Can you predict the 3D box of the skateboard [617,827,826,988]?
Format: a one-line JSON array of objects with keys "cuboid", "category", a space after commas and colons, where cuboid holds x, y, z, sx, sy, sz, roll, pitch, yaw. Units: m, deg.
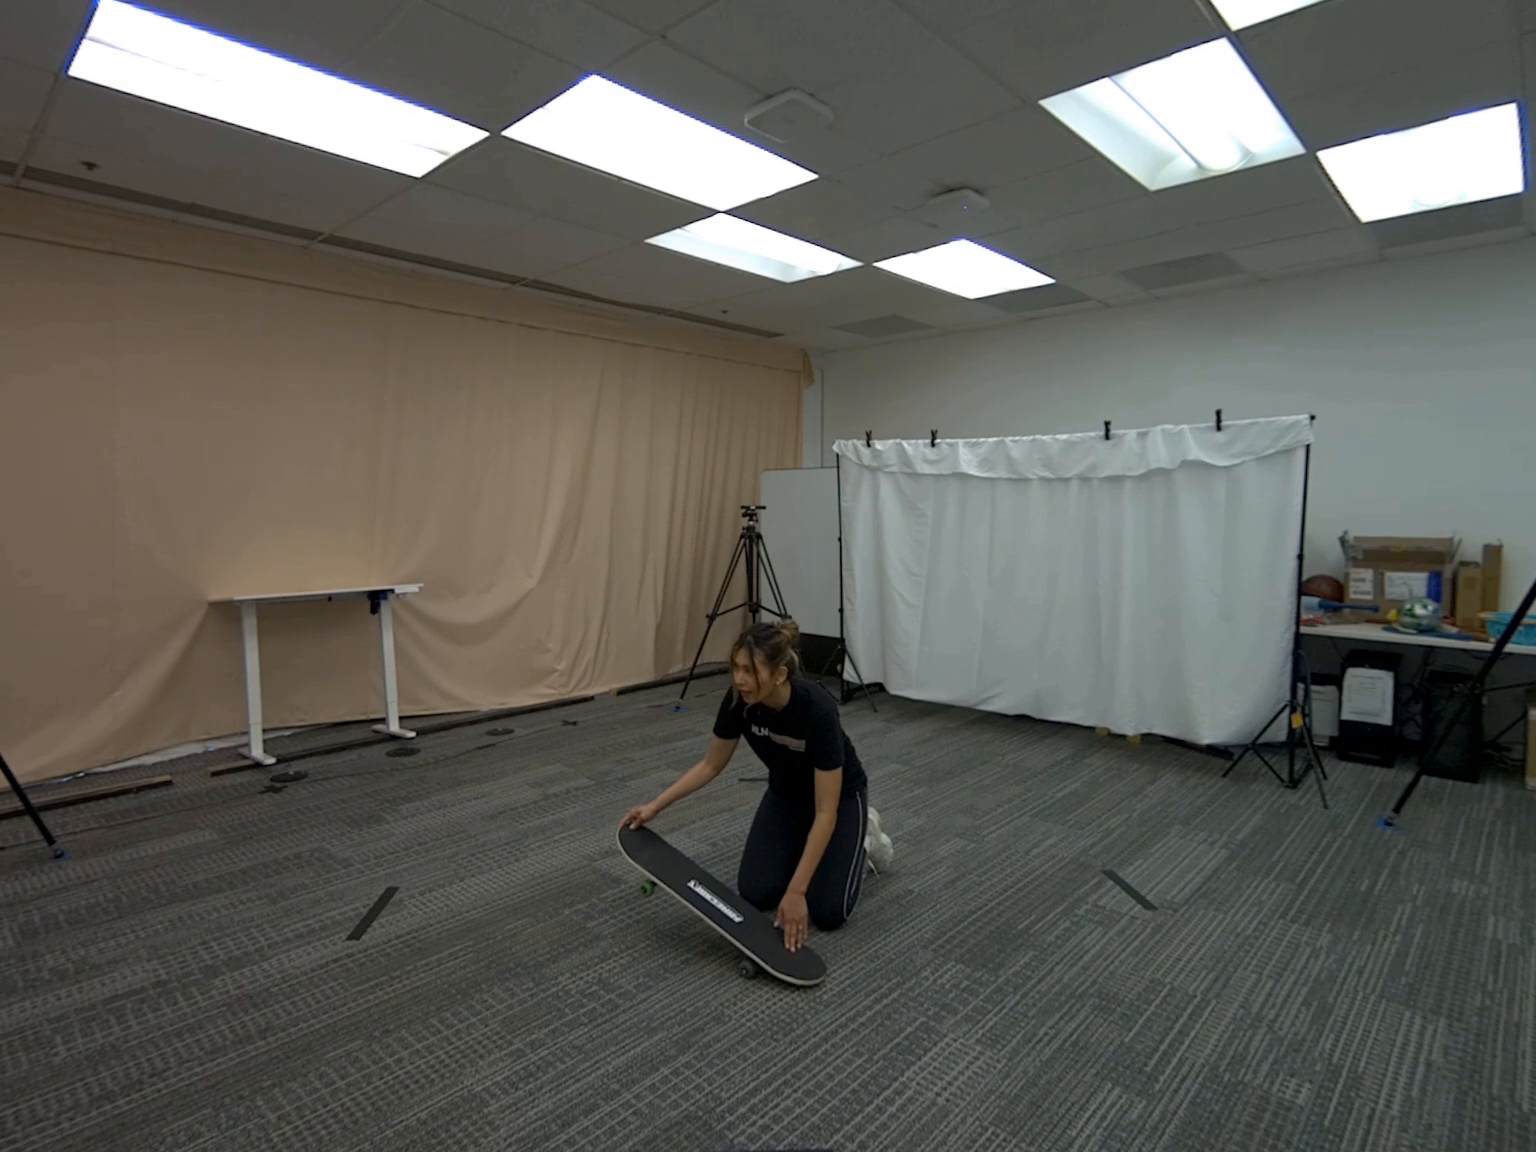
[{"cuboid": [-0.169, 1.044, 2.631, 0.809, 0.110, 0.188, 26, 16, 26], "category": "skateboard"}]
